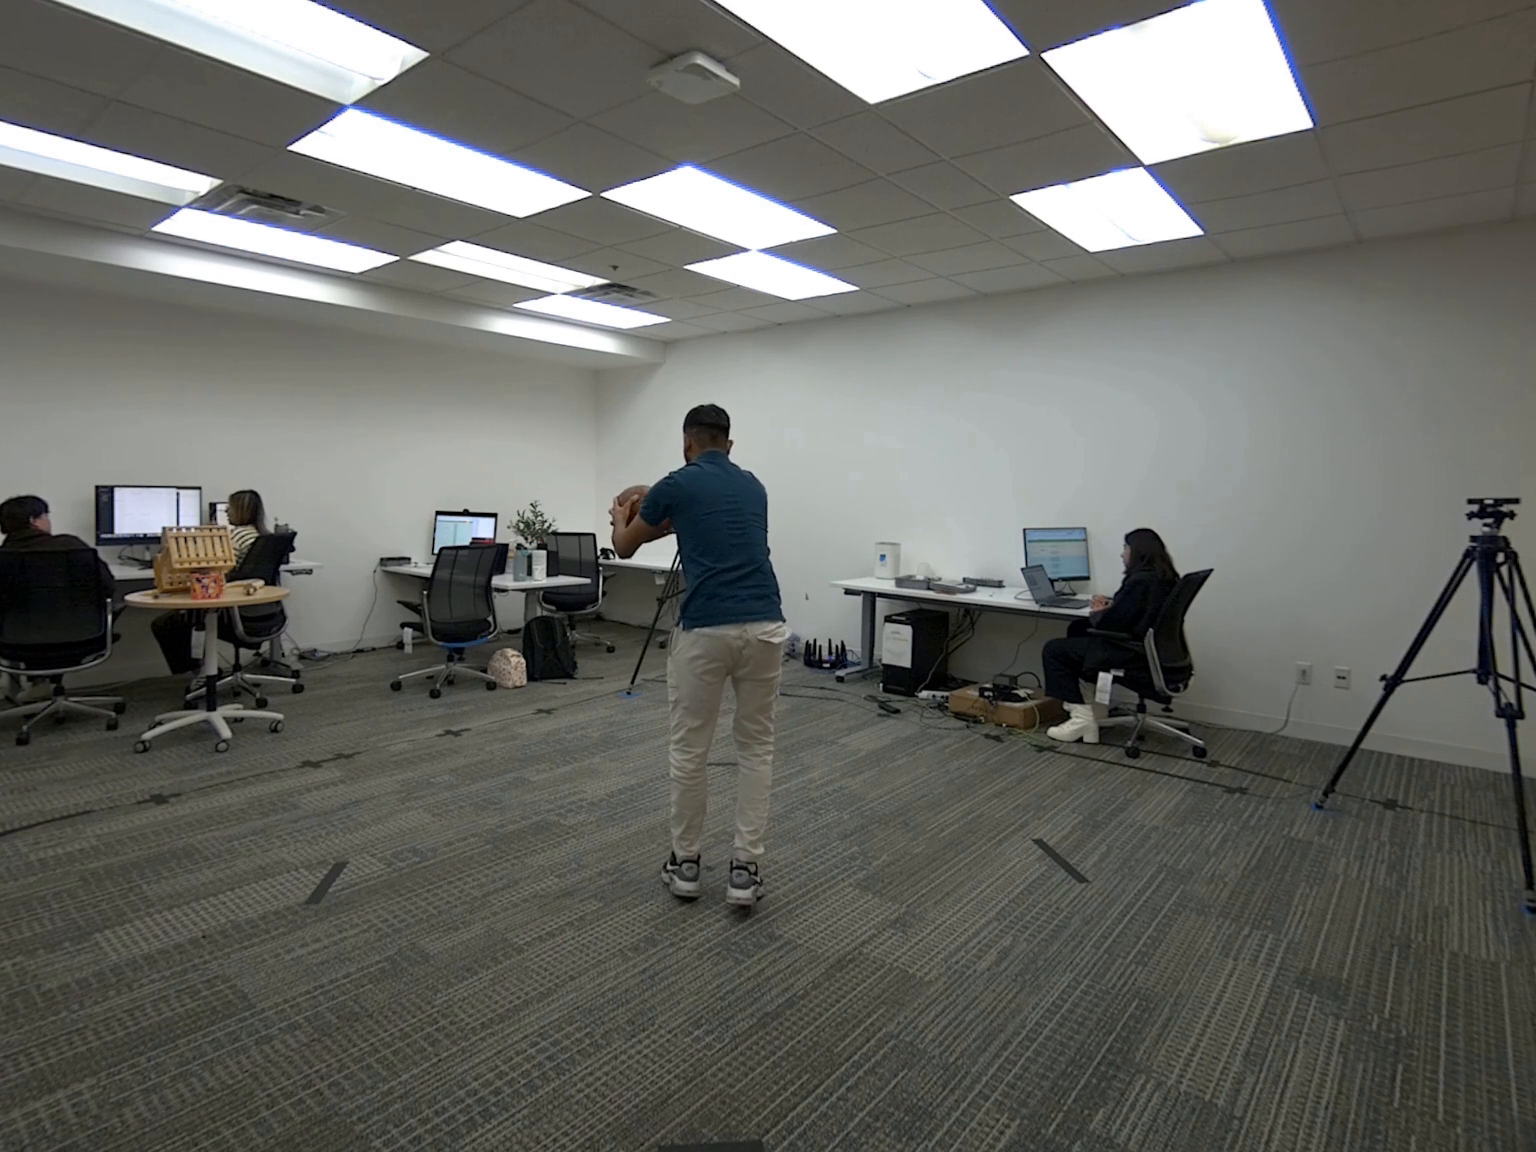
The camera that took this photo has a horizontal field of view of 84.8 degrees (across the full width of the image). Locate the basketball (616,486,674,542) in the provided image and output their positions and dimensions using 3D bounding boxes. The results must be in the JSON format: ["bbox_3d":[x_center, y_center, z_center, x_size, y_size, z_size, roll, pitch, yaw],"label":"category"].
[{"bbox_3d":[-0.520,-0.248,3.475,0.235,0.235,0.237,1,4,-2],"label":"basketball"}]
